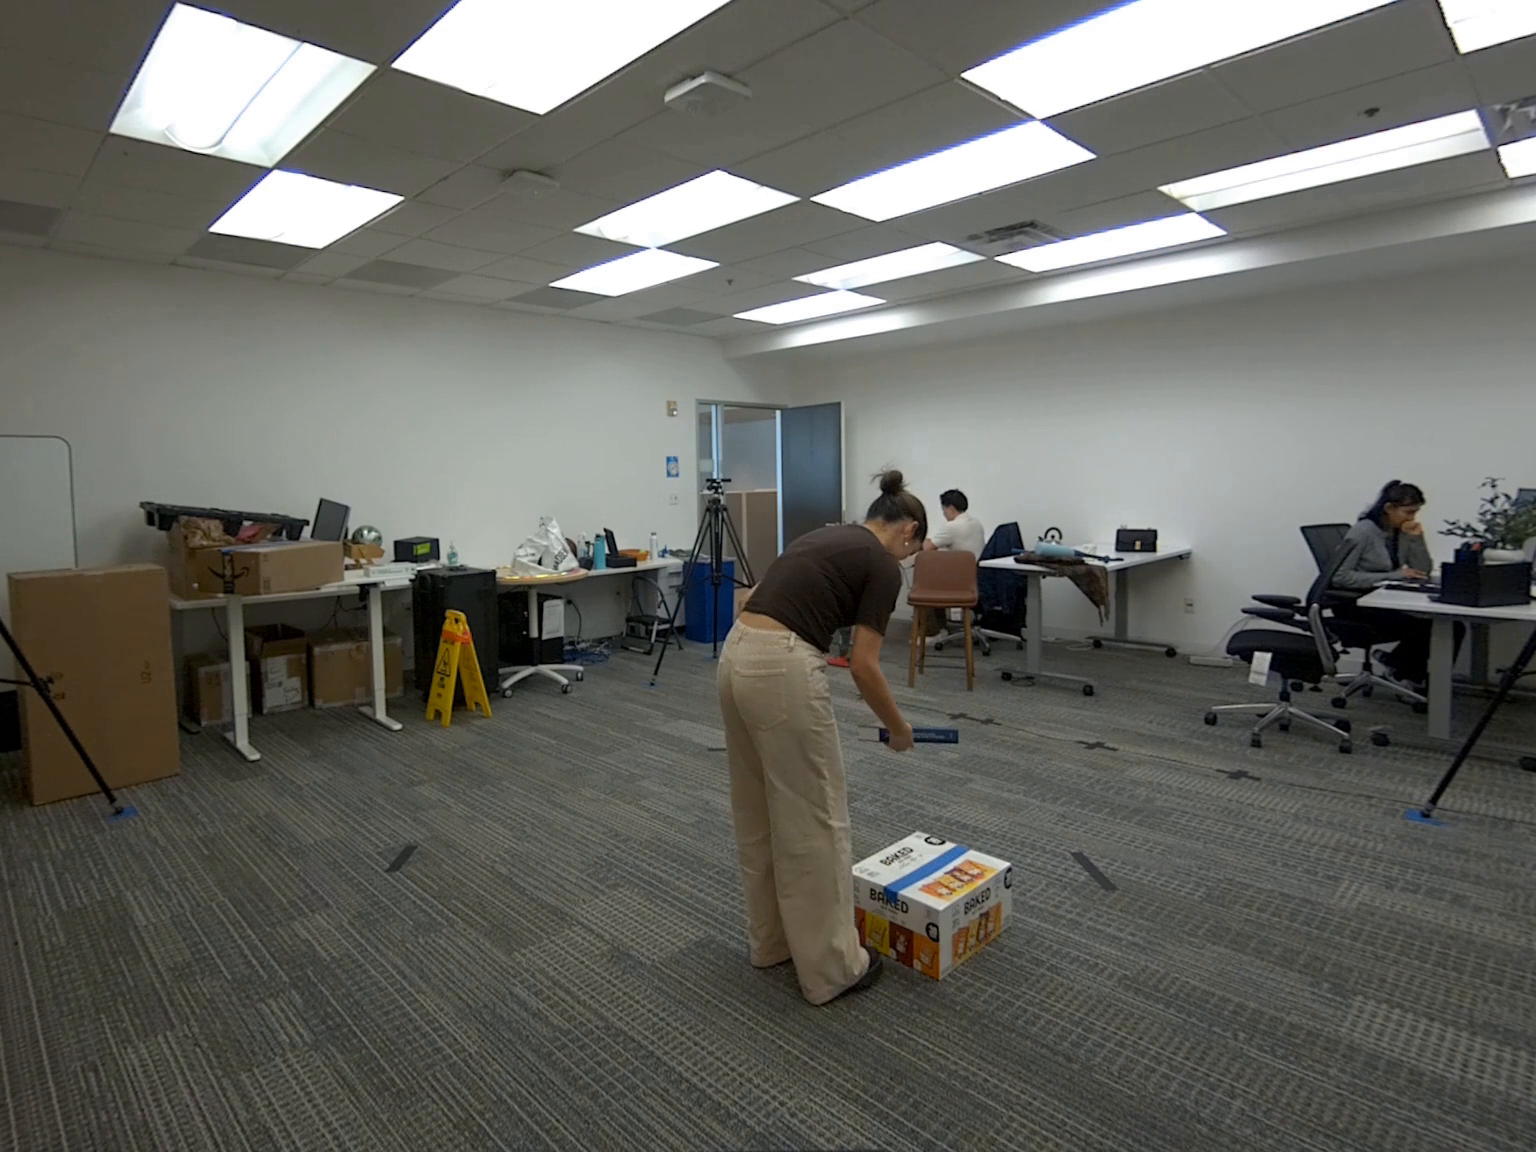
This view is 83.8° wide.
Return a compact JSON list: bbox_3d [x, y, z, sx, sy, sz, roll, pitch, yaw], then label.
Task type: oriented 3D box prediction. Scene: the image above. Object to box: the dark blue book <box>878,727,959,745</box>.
[{"bbox_3d":[0.416,0.456,2.508,0.243,0.045,0.163,3,-7,-8],"label":"dark blue book"}]
